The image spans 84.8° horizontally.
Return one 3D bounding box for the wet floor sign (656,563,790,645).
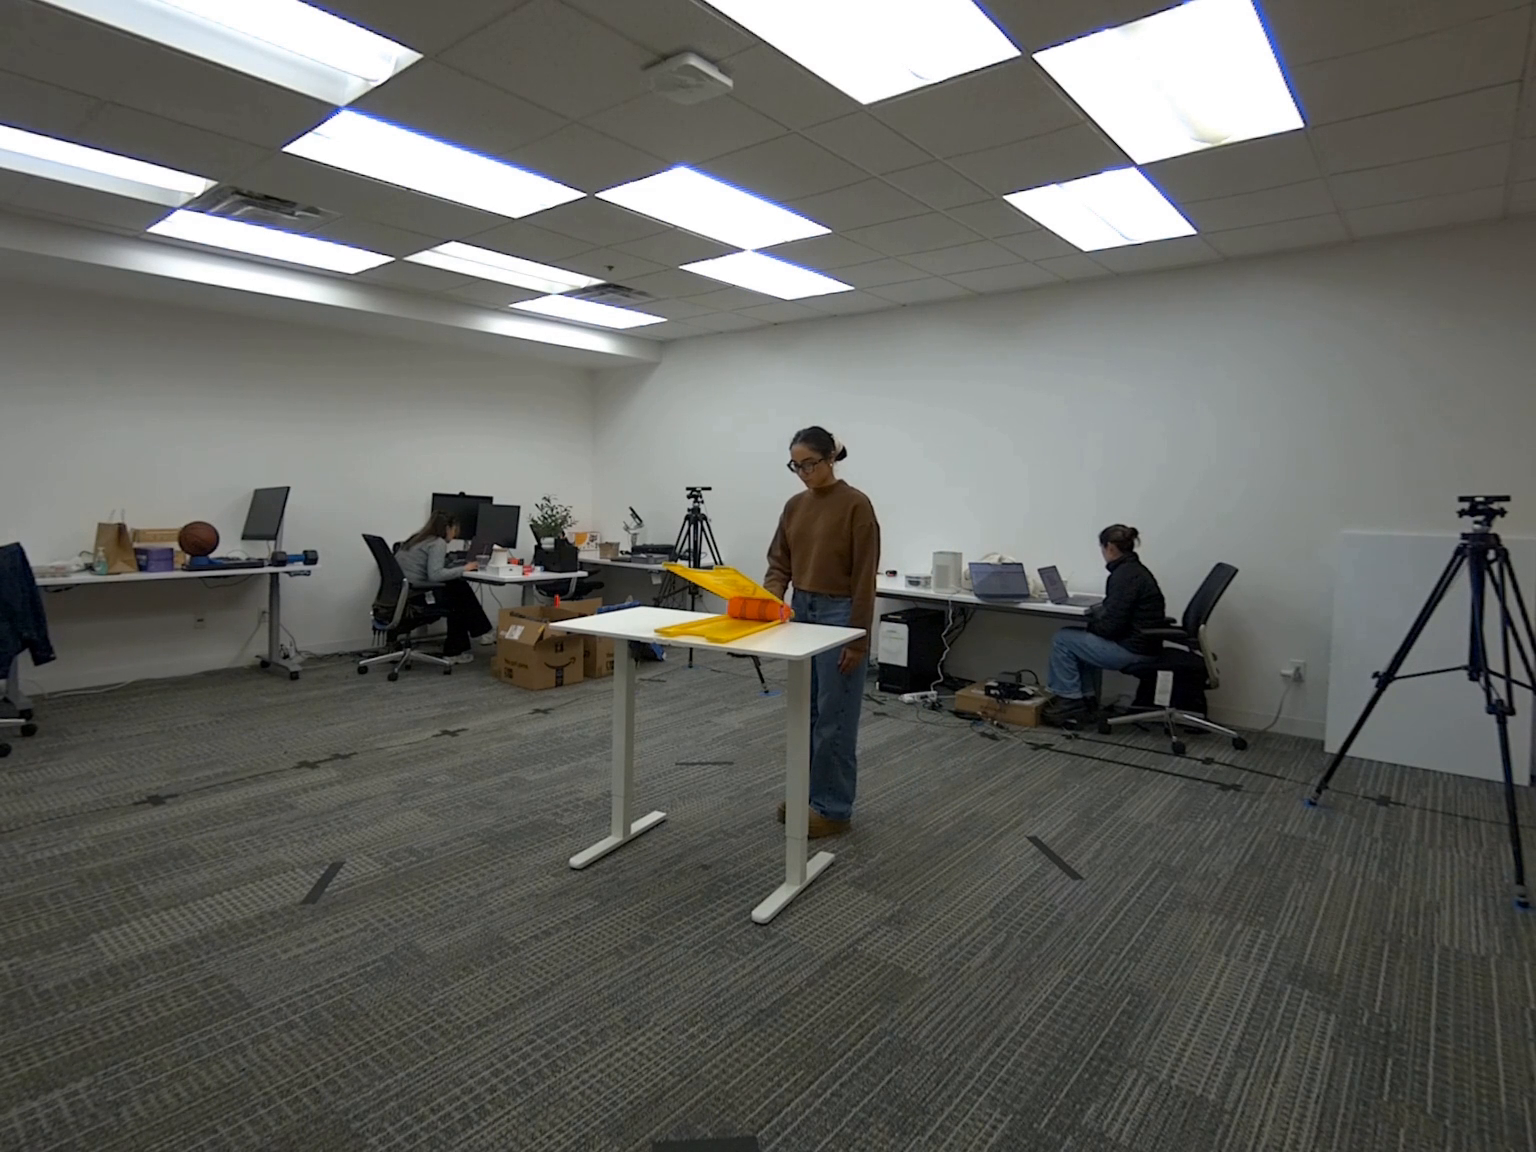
[{"bbox_3d":[-0.128,0.114,3.130,0.290,0.291,0.627,3,-3,26],"label":"wet floor sign"}]
